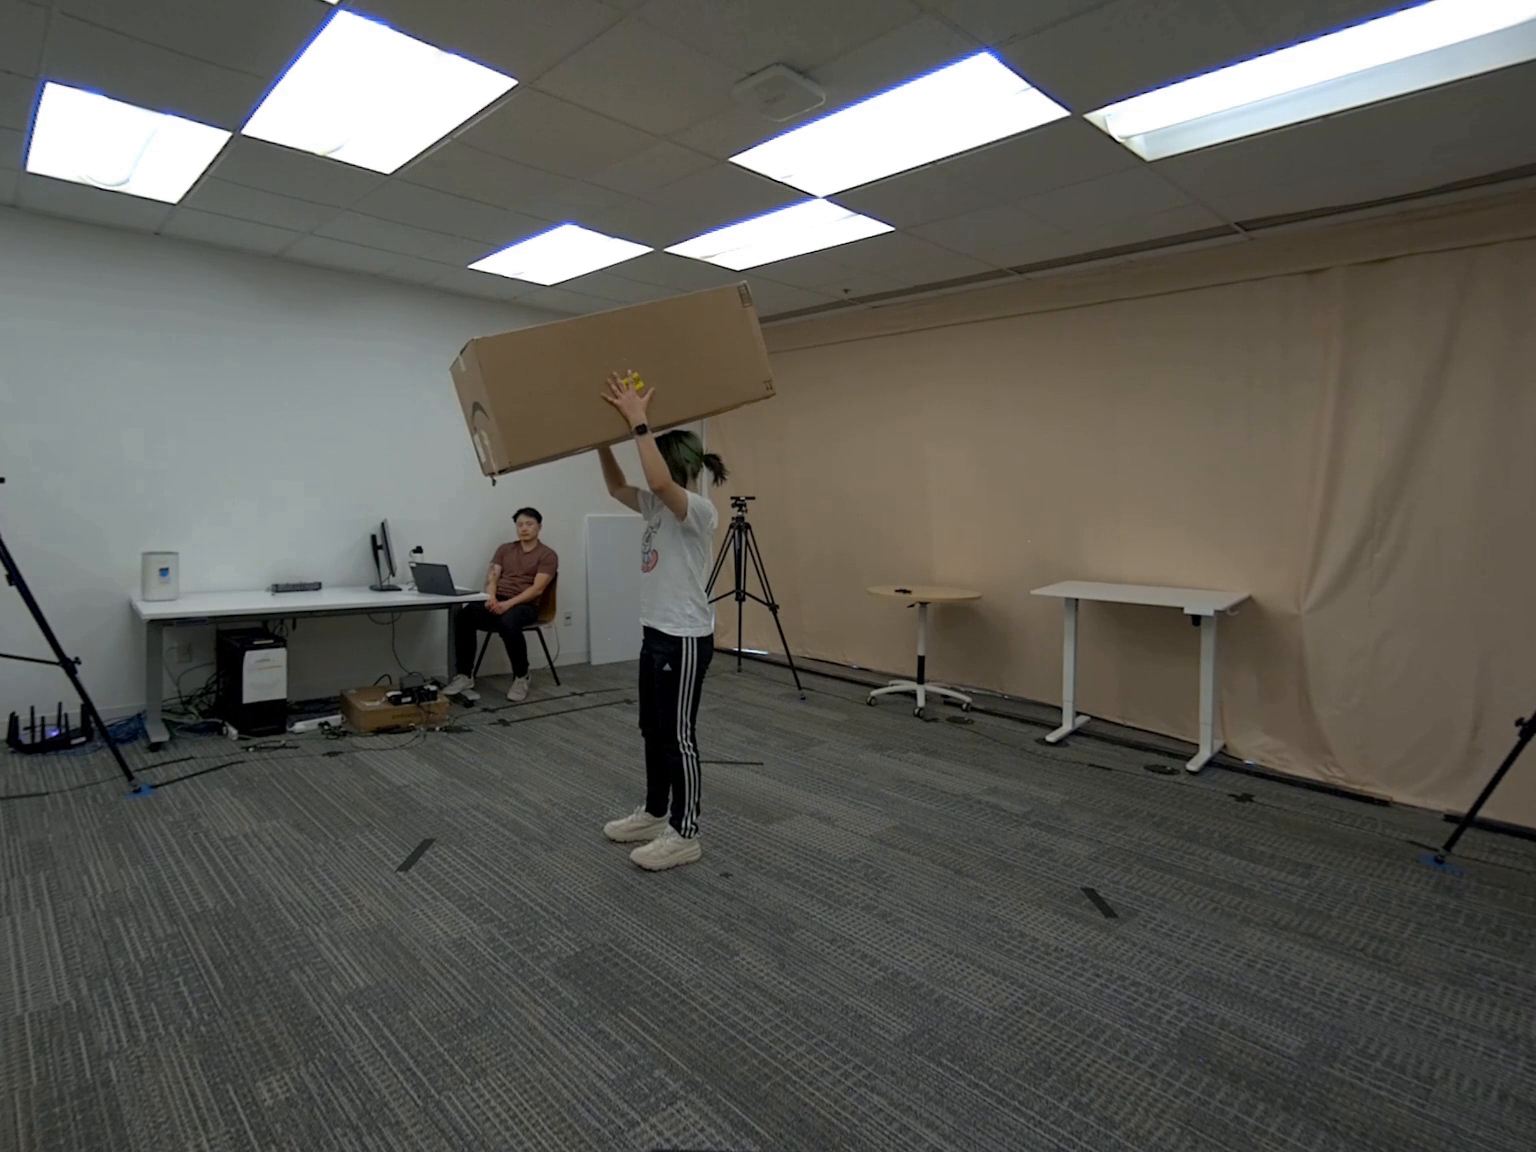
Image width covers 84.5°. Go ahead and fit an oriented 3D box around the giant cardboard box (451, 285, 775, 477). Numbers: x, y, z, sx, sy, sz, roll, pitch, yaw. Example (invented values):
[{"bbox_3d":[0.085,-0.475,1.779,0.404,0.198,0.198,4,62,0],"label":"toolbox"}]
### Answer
[{"bbox_3d":[-0.595,-0.717,3.138,1.016,0.442,0.596,-21,13,-24],"label":"giant cardboard box"}]
